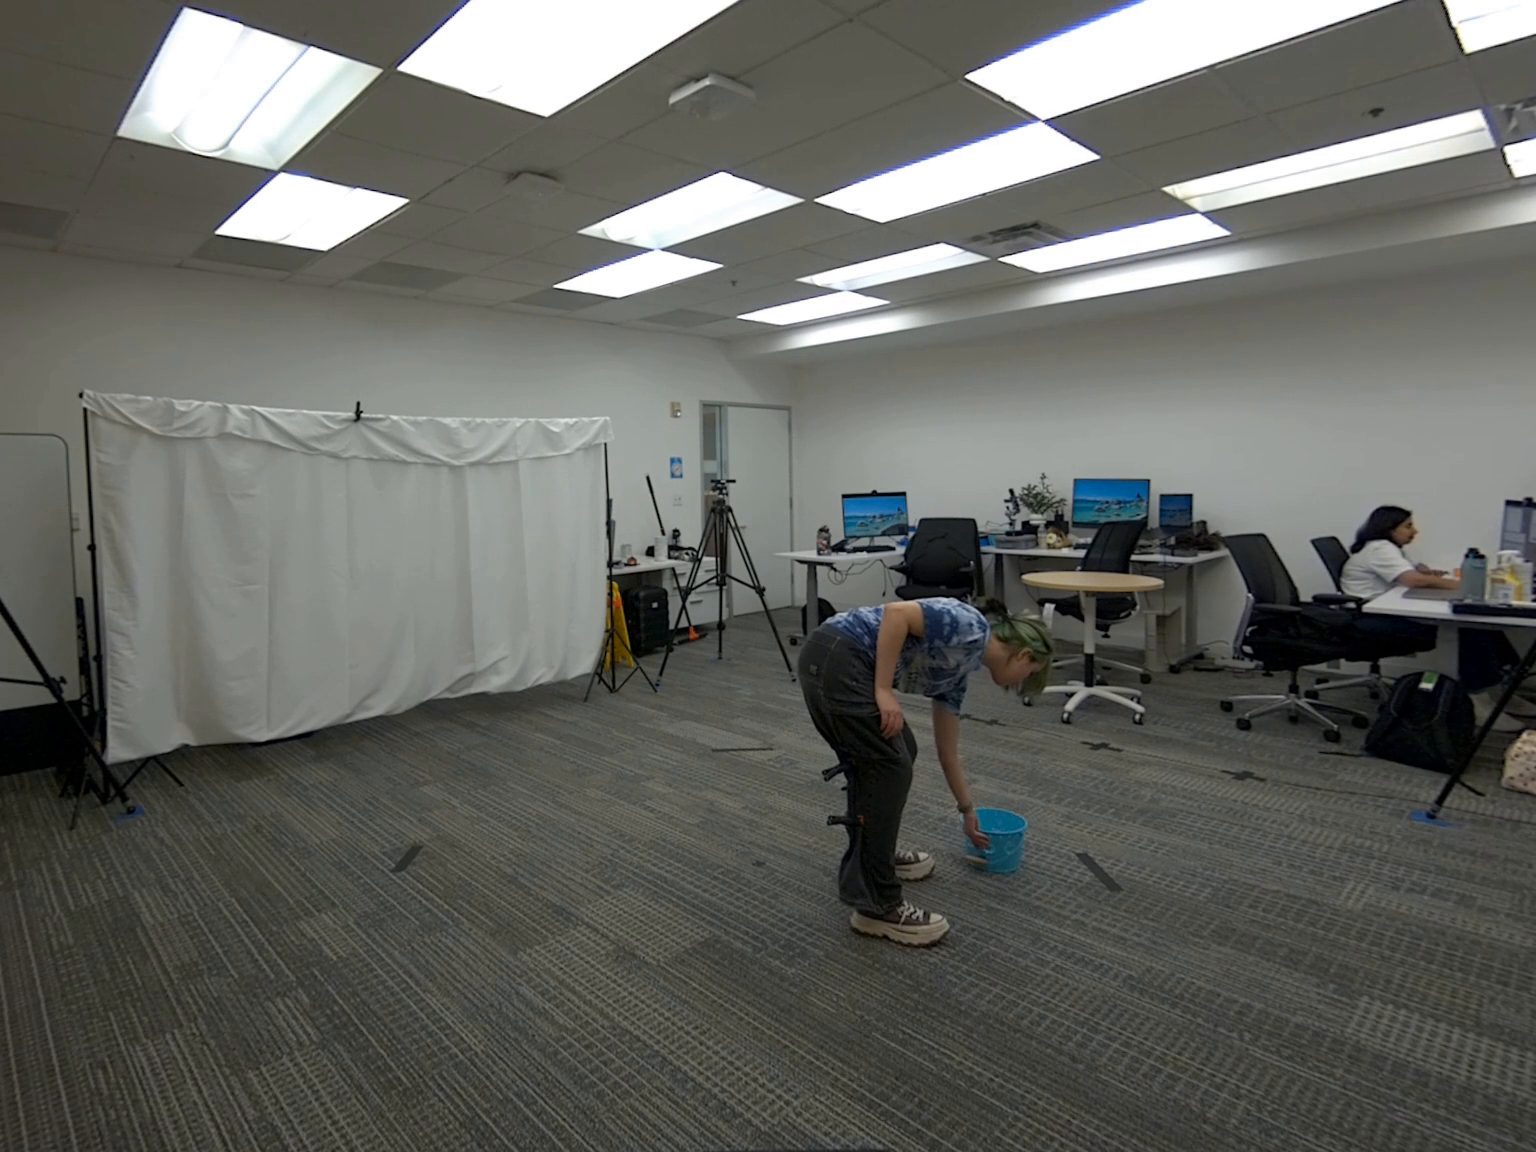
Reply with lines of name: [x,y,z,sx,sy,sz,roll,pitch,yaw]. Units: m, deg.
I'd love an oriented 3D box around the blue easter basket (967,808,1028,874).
blue easter basket: [0.809,0.956,3.082,0.243,0.155,0.244,-1,4,-2]
